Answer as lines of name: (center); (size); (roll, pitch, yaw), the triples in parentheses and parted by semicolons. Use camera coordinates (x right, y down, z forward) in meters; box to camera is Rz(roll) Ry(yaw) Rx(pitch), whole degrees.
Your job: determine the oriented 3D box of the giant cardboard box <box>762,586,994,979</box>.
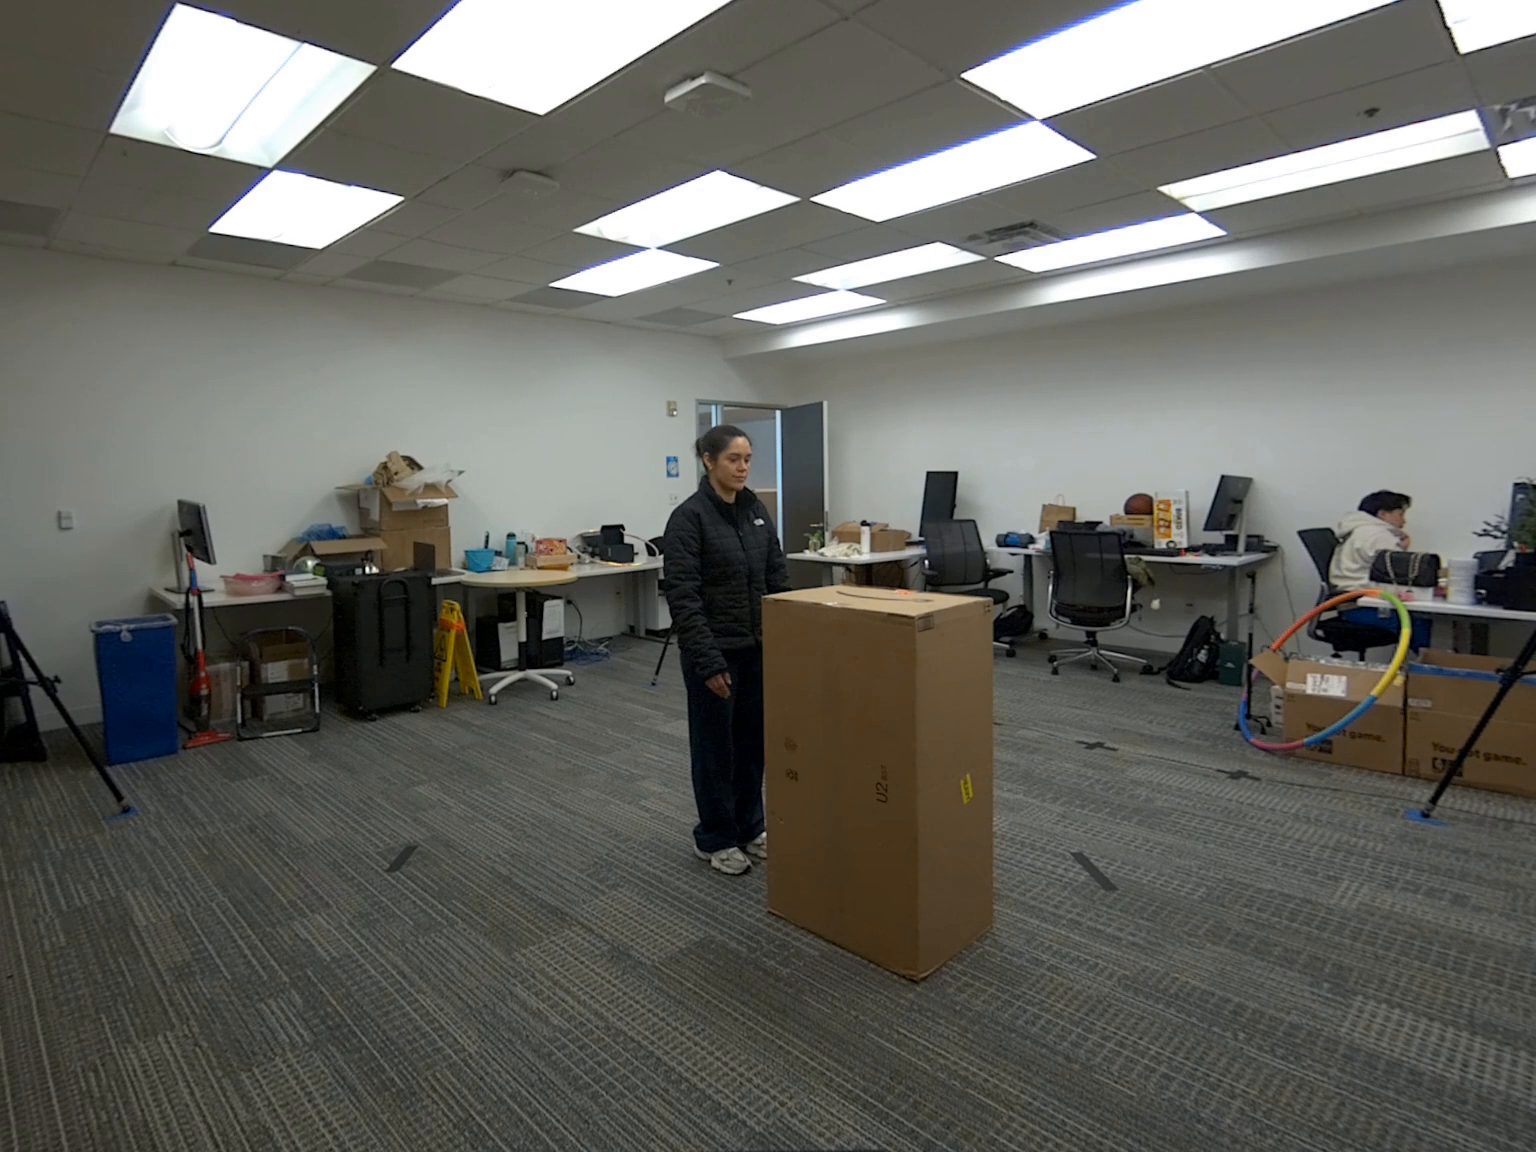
giant cardboard box: (0.346, 0.578, 2.679); (0.595, 1.022, 0.415); (3, 5, 45)
